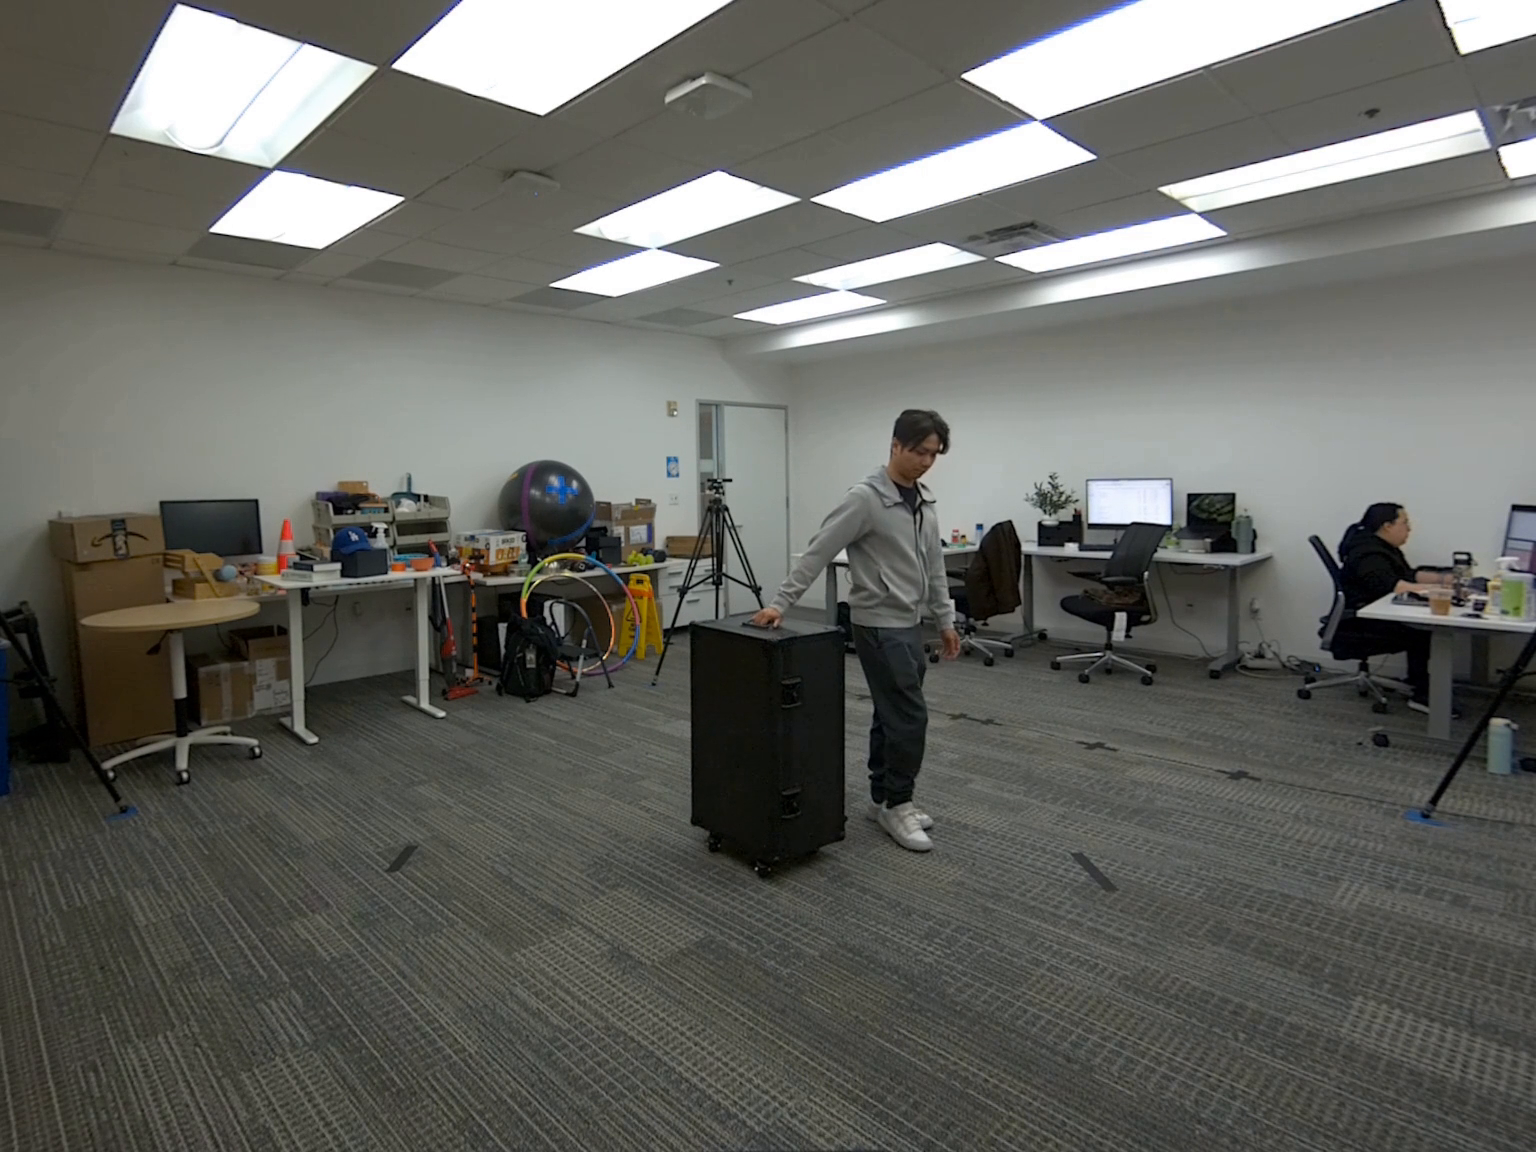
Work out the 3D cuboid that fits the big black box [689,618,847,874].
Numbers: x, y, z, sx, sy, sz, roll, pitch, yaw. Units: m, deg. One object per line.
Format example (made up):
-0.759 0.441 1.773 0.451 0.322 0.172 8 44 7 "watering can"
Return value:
-0.004 0.608 3.208 0.385 0.860 0.537 -2 3 -40 "big black box"
